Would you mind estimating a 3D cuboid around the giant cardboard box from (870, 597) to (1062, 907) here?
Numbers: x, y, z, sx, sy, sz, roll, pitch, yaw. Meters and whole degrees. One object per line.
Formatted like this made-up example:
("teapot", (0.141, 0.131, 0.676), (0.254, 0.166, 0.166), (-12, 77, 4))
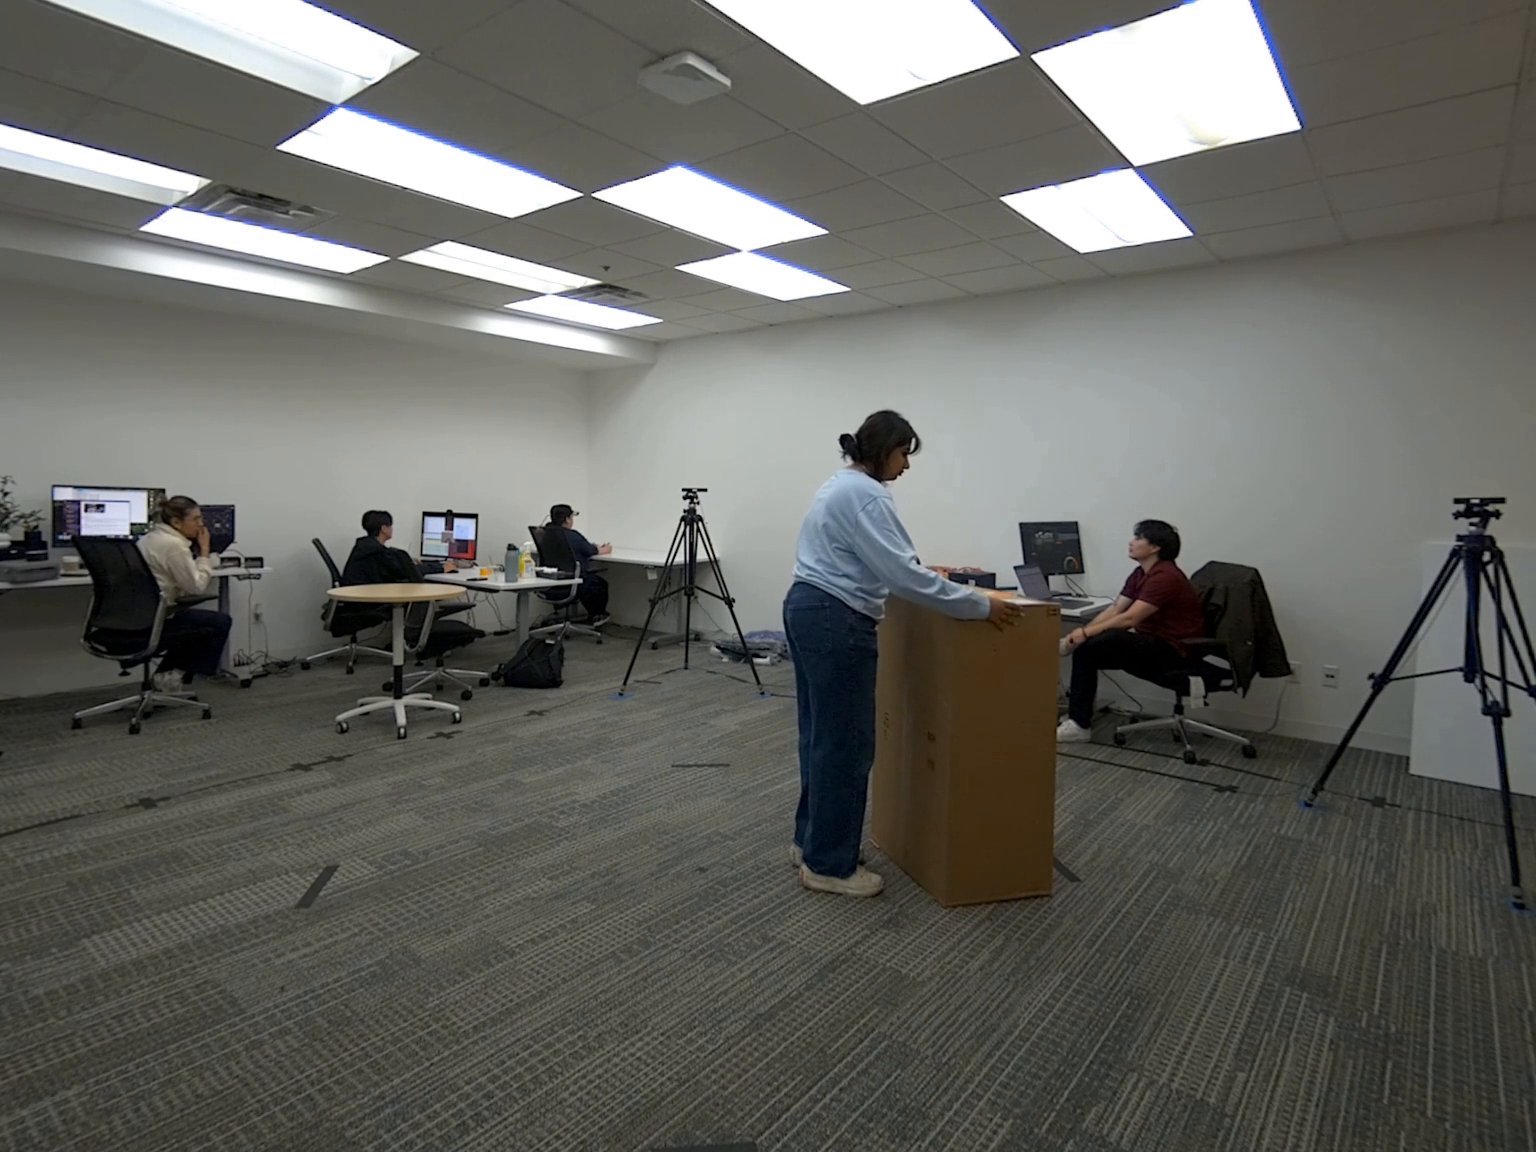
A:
("giant cardboard box", (0.711, 0.578, 3.158), (0.418, 1.023, 0.590), (-1, 3, -19))
